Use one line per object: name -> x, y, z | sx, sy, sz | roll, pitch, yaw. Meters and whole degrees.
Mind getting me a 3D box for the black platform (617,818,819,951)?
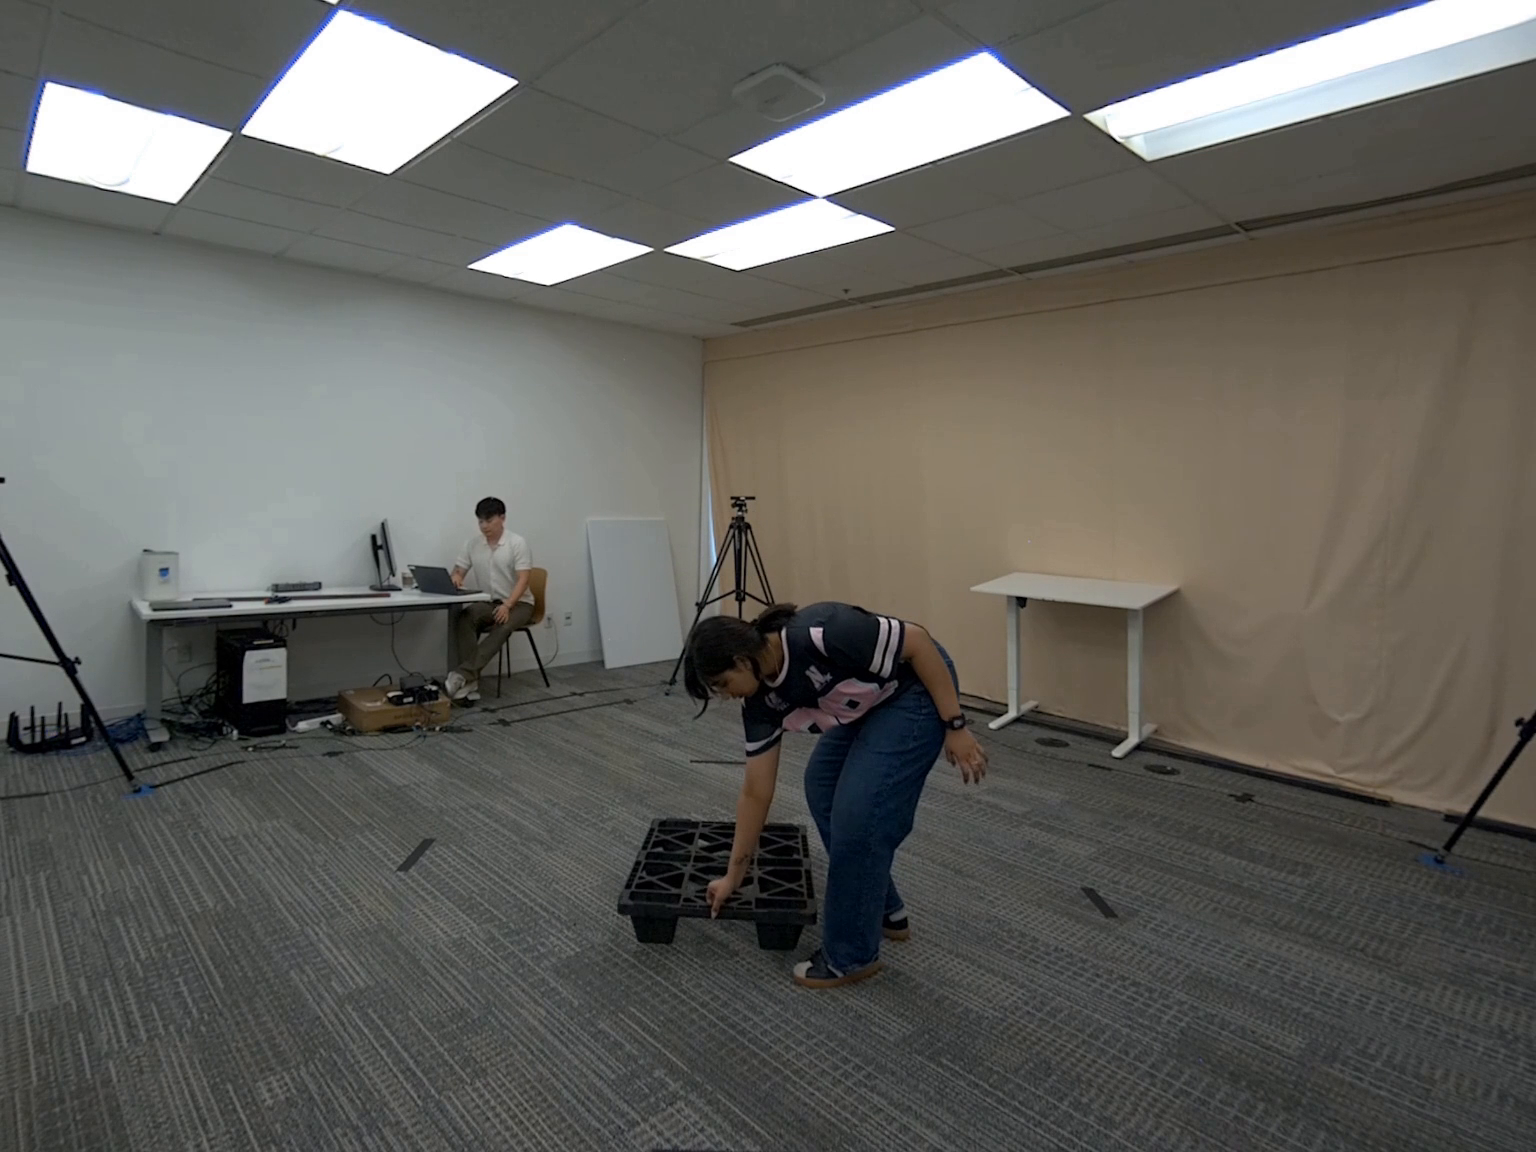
black platform -> -0.156, 1.037, 2.892 | 0.606, 0.143, 0.805 | 2, 2, 1
